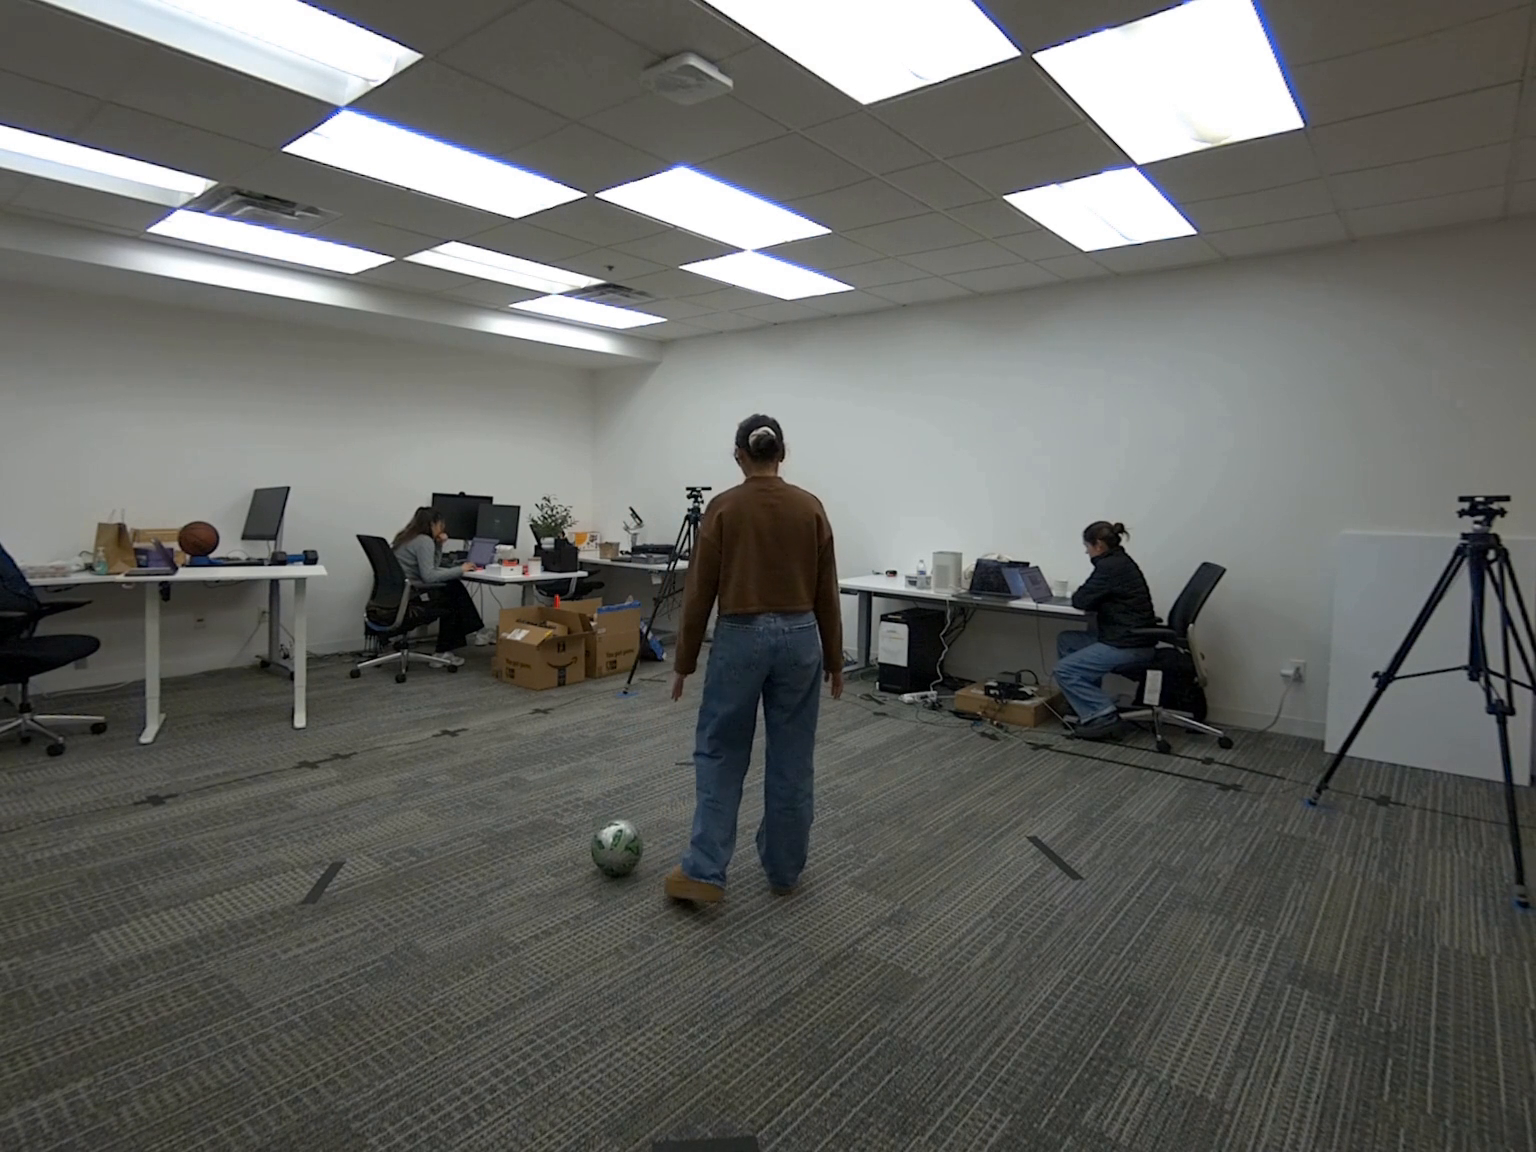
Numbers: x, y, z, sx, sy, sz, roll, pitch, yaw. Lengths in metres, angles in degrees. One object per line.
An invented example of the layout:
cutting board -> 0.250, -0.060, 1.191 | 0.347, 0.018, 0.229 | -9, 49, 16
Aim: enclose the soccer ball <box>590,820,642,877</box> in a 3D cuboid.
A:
soccer ball -> -0.550, 0.975, 3.053 | 0.187, 0.187, 0.188 | 1, 4, -2
